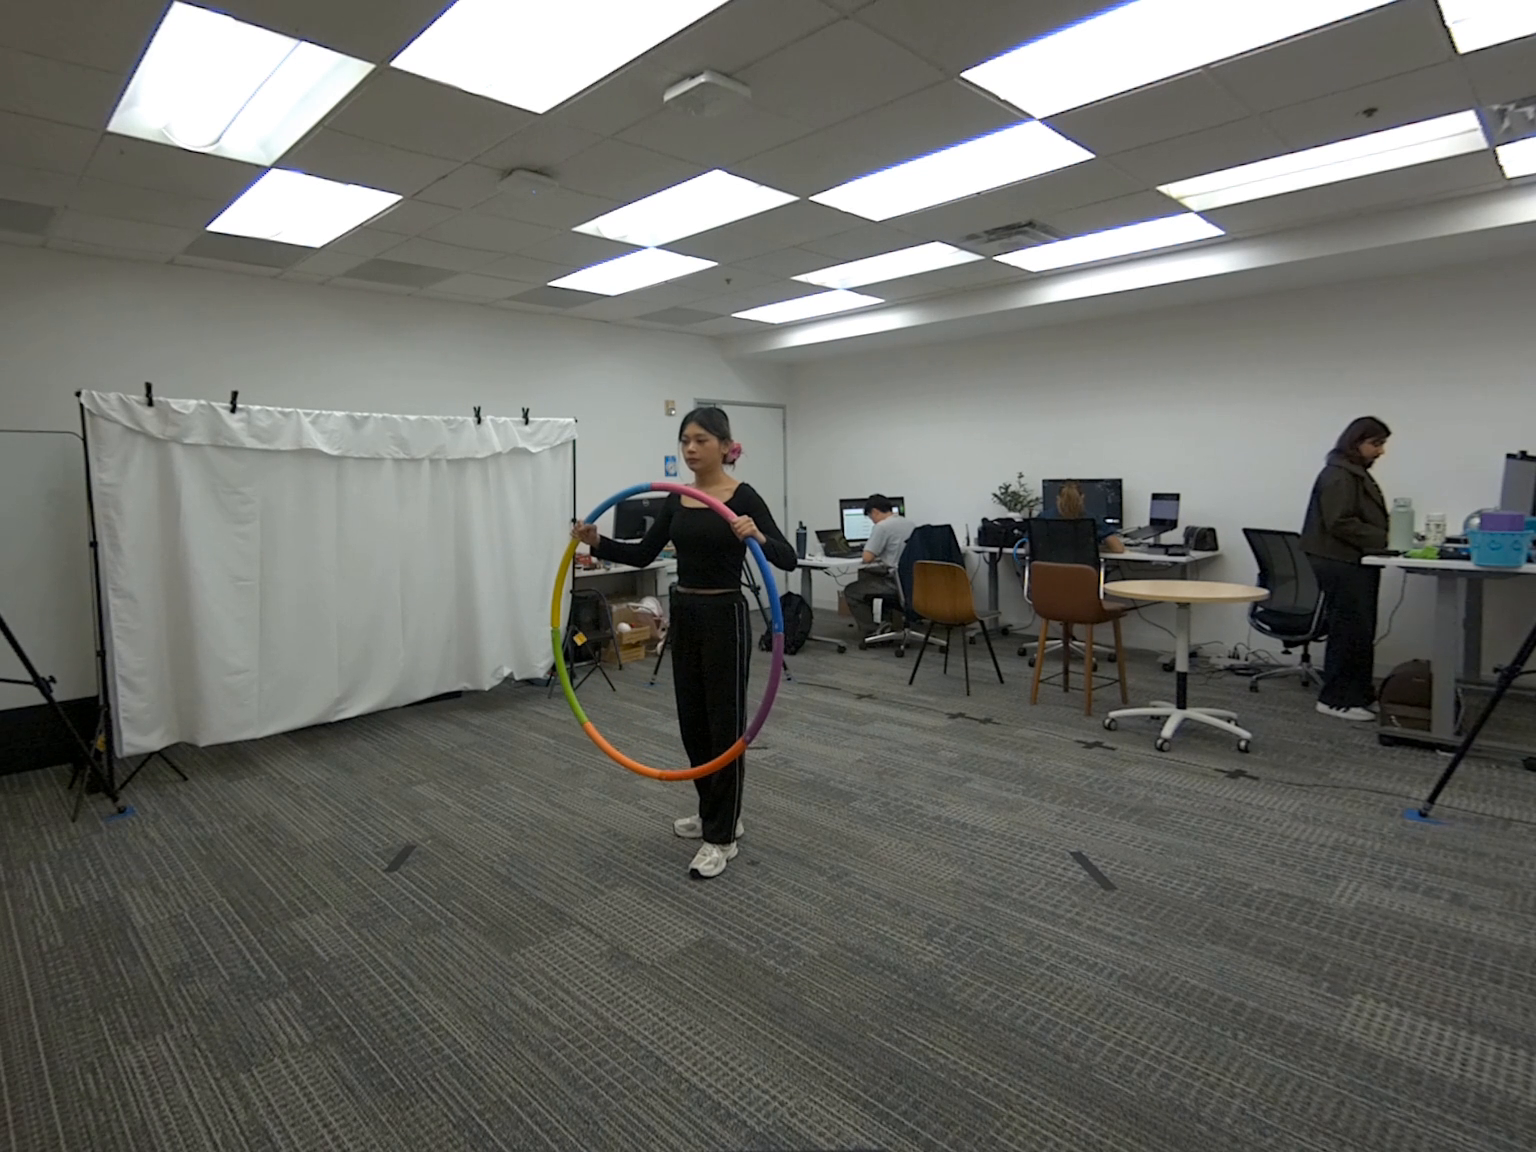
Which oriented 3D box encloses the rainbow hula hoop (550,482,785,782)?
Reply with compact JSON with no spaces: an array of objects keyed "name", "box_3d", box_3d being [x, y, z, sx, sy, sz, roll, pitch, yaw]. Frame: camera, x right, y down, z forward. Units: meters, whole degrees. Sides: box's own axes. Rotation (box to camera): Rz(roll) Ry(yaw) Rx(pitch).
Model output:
[{"name":"rainbow hula hoop","box_3d":[-0.365,0.178,2.876,1.006,0.978,0.034,2,1,34]}]
